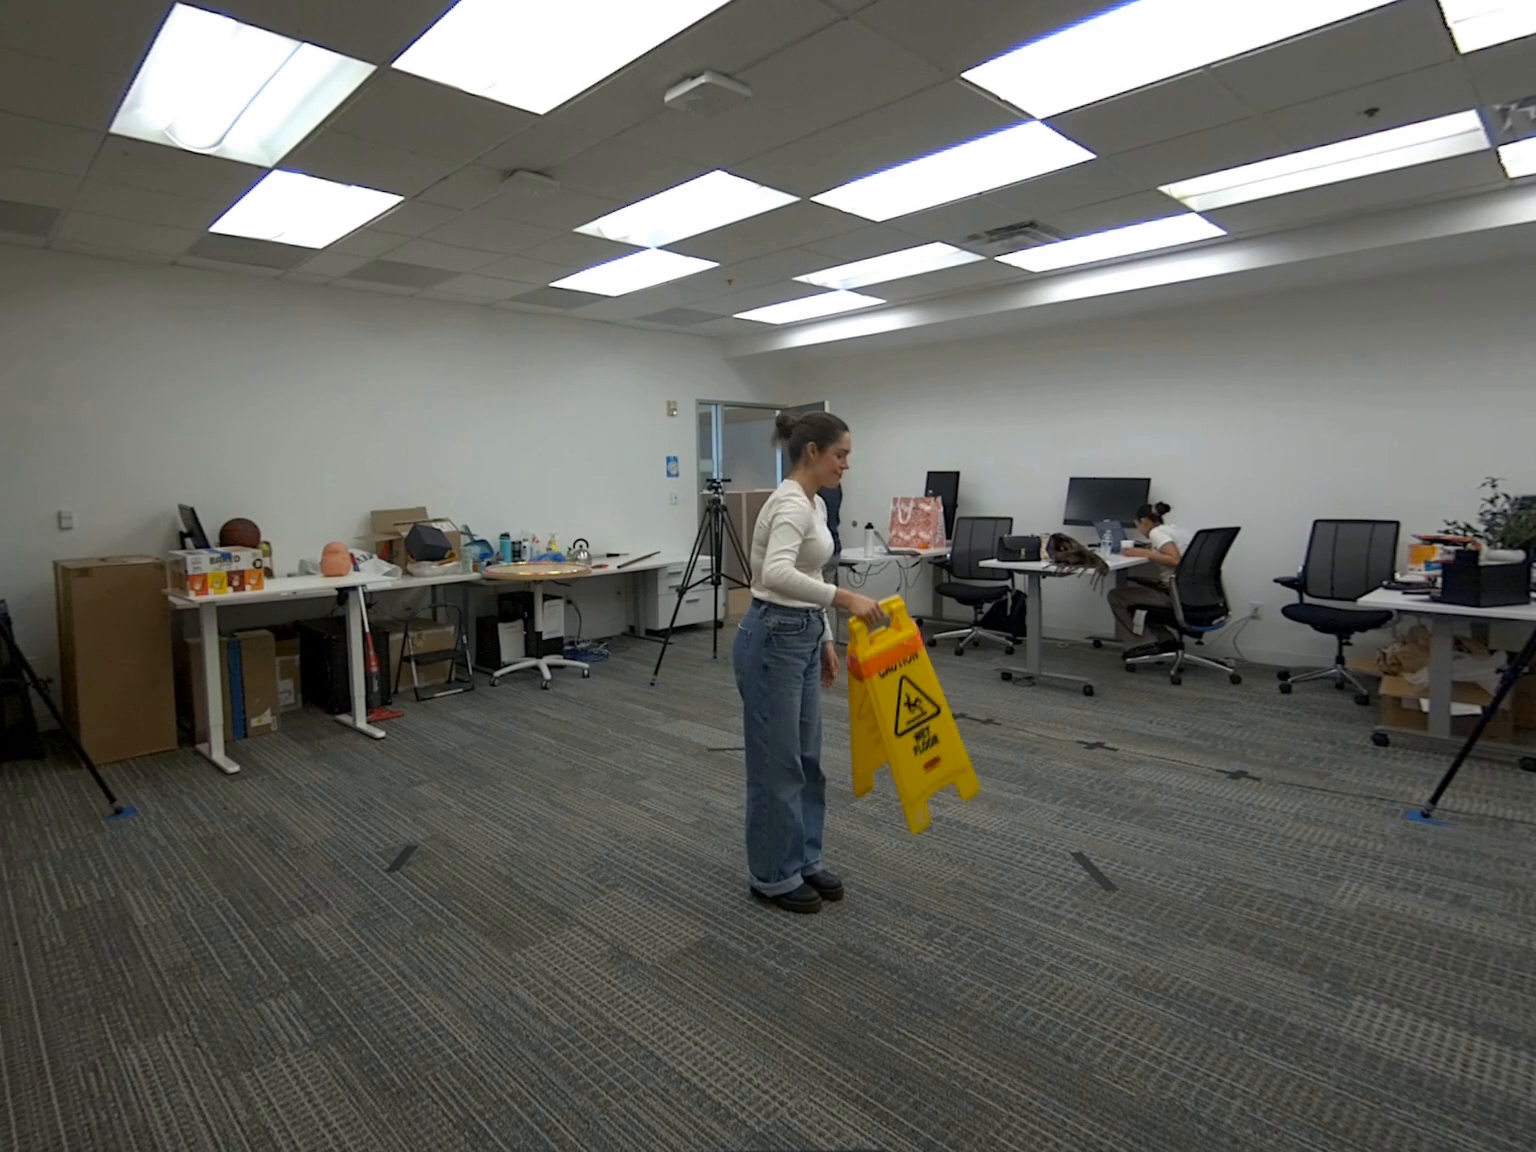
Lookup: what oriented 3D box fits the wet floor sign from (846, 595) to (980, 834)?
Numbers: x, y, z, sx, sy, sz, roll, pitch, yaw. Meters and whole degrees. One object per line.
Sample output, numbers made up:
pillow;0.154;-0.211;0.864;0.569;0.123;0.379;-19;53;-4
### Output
wet floor sign;0.391;0.382;2.580;0.278;0.634;0.299;-23;19;-27
